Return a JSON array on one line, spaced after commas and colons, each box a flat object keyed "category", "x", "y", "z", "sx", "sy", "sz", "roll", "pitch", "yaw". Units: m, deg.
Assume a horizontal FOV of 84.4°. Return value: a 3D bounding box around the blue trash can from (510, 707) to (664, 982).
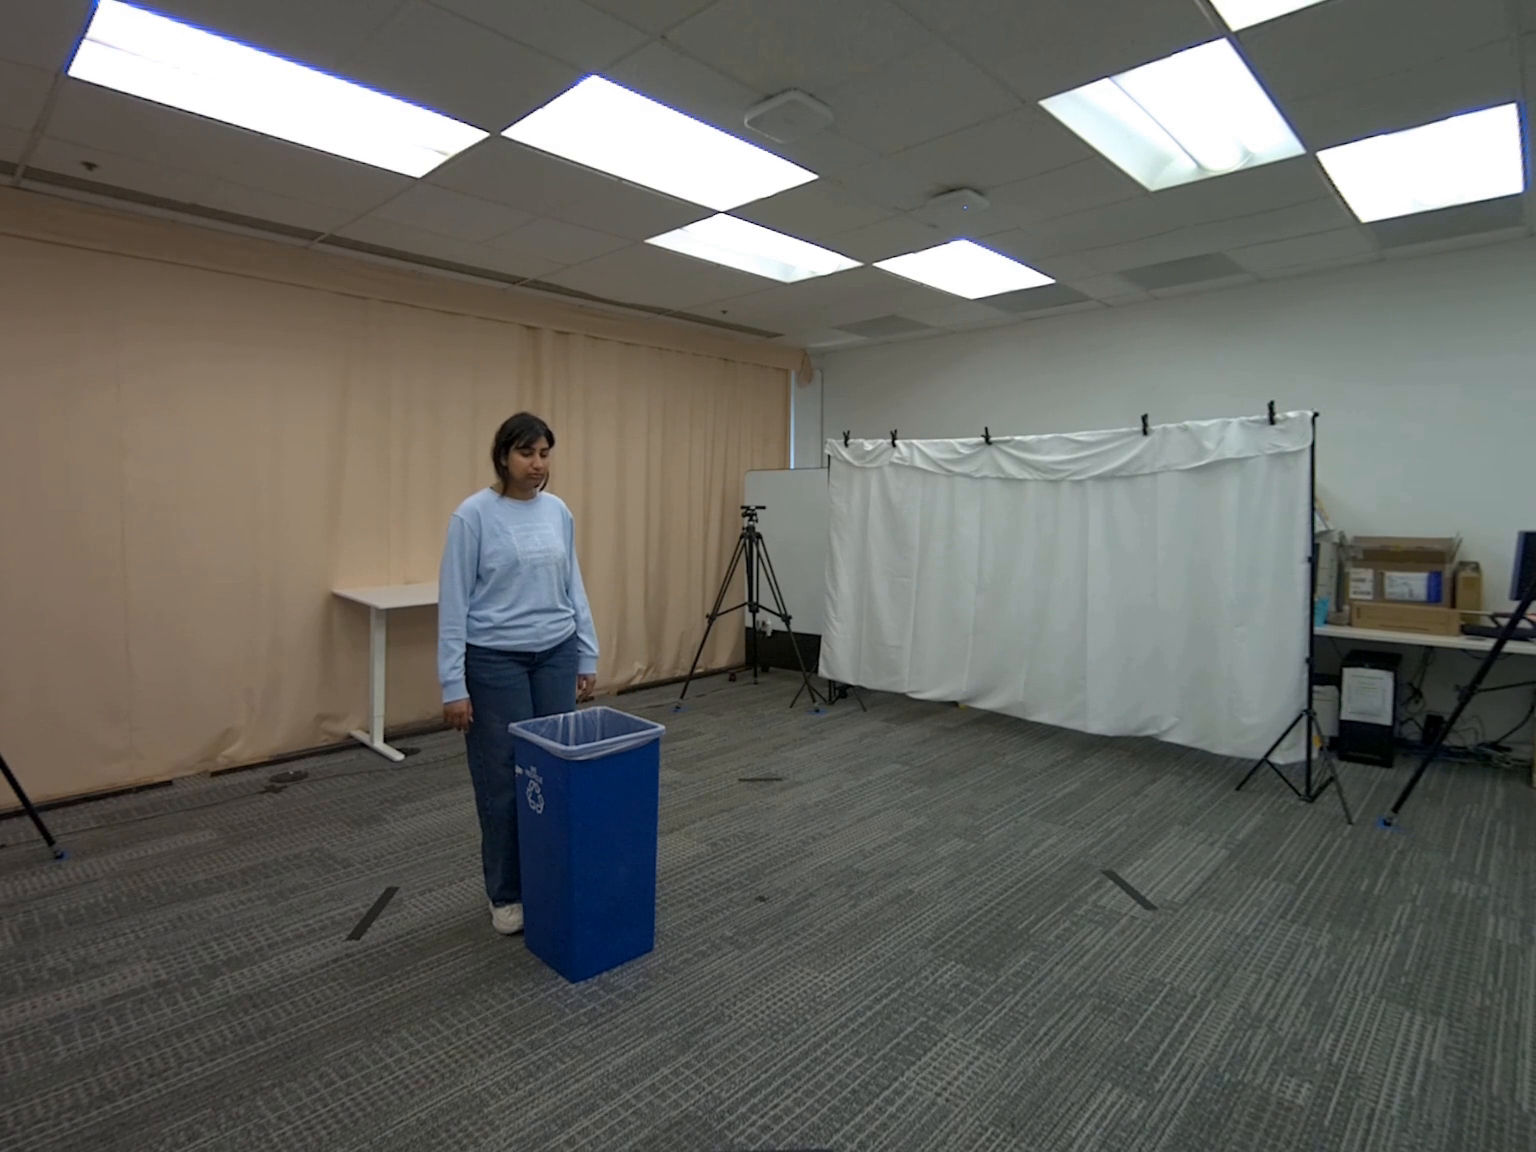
[{"category": "blue trash can", "x": -0.558, "y": 0.821, "z": 2.634, "sx": 0.366, "sy": 0.712, "sz": 0.386, "roll": -4, "pitch": 5, "yaw": -43}]
